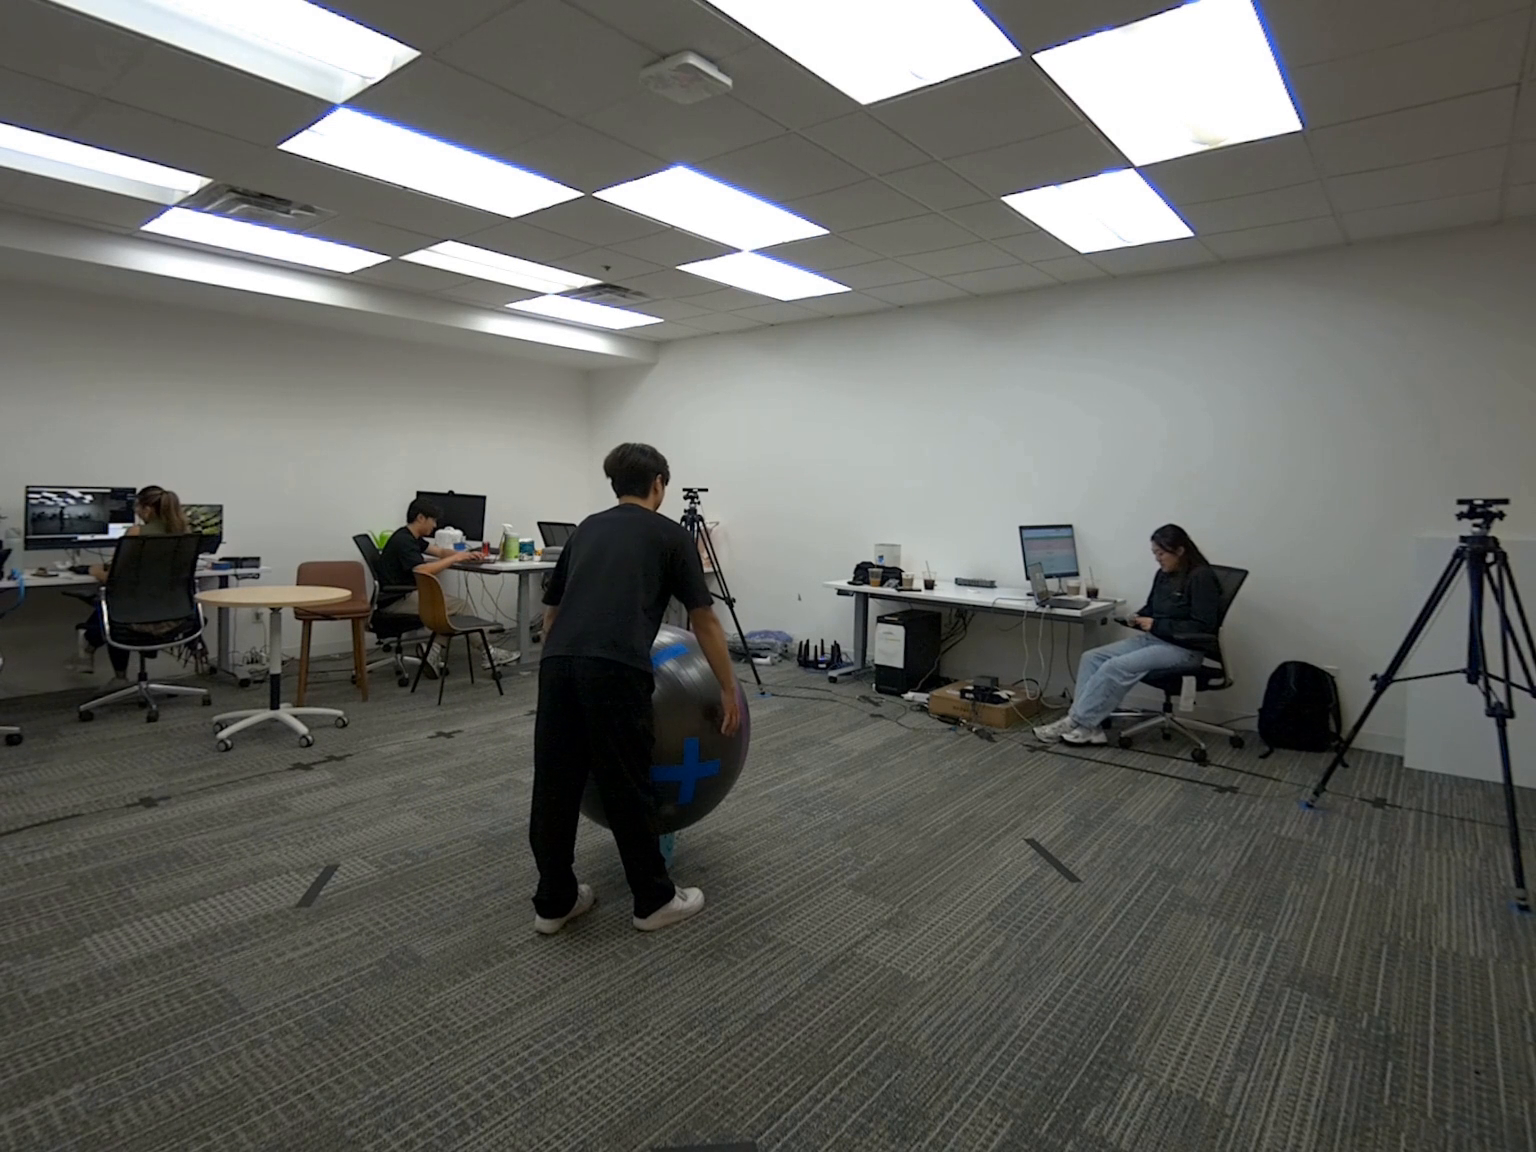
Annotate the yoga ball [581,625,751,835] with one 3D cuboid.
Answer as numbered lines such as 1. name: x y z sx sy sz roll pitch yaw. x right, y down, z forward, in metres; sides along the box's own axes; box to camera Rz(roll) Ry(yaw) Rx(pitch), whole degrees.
1. yoga ball: -0.452 0.552 3.132 0.757 0.756 0.761 1 4 -2
